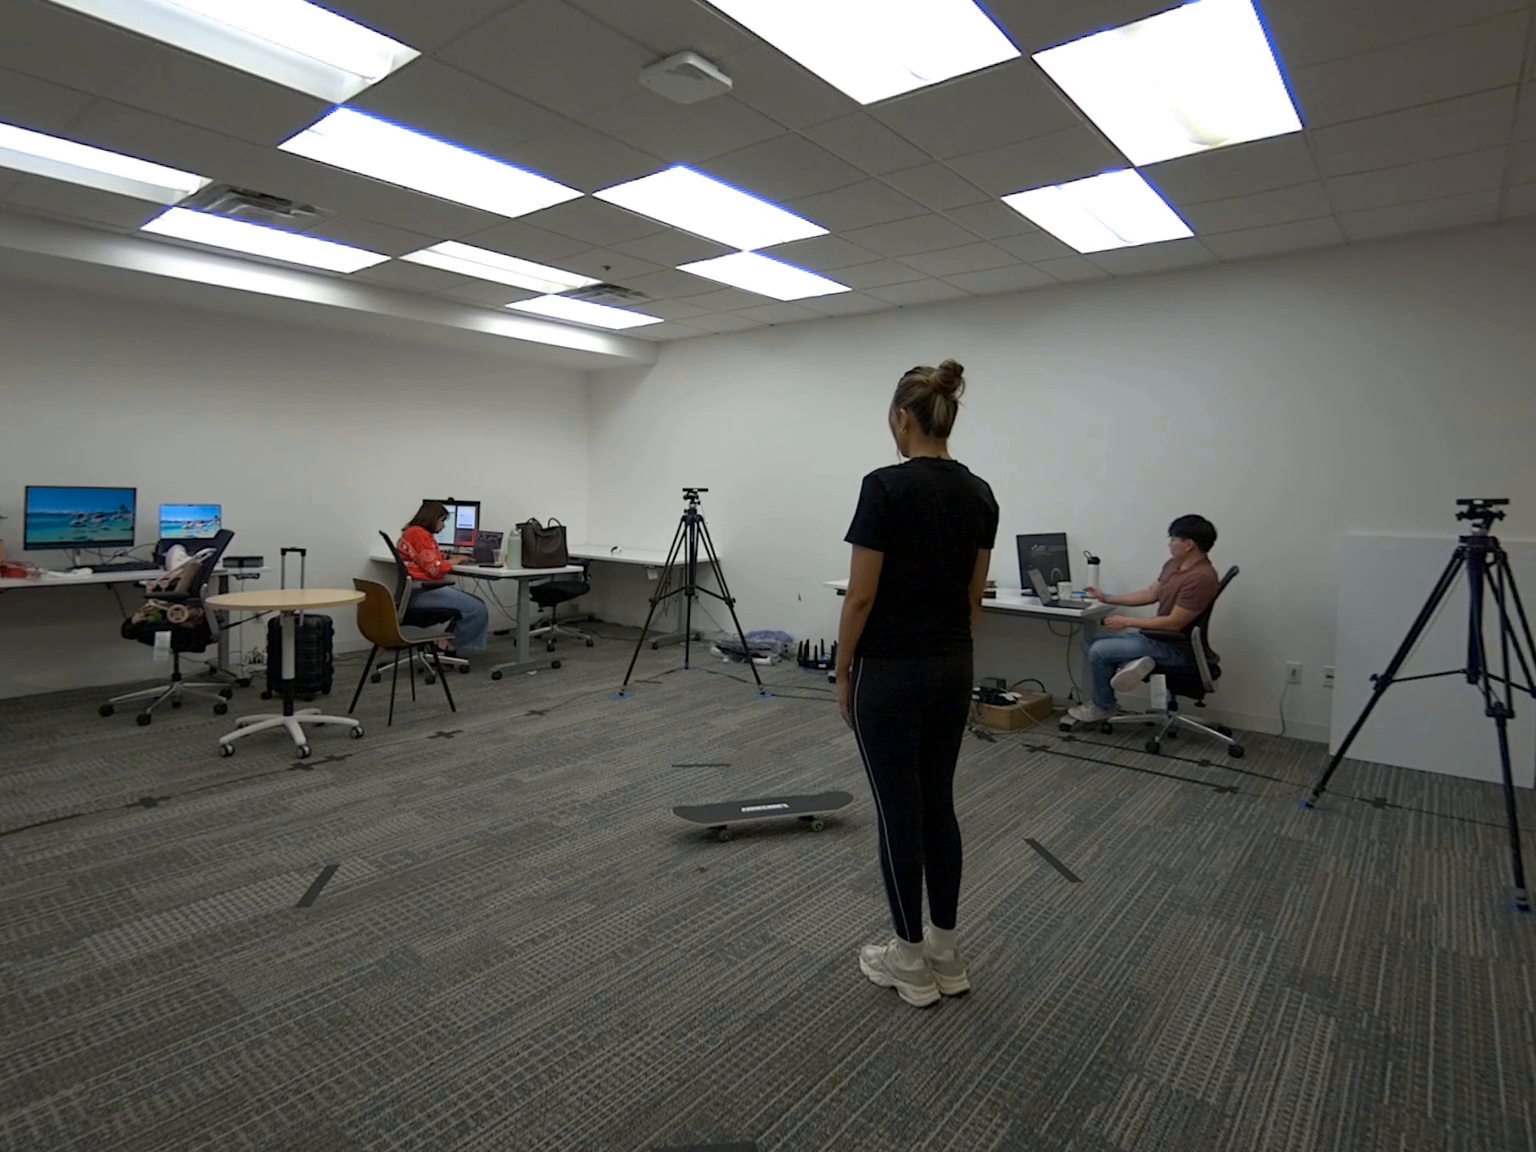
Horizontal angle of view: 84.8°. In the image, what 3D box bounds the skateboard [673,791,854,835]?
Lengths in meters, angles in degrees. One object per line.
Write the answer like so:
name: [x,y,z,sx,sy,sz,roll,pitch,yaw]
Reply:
skateboard: [-0.025,0.979,3.494,0.772,0.110,0.198,-1,5,-17]
